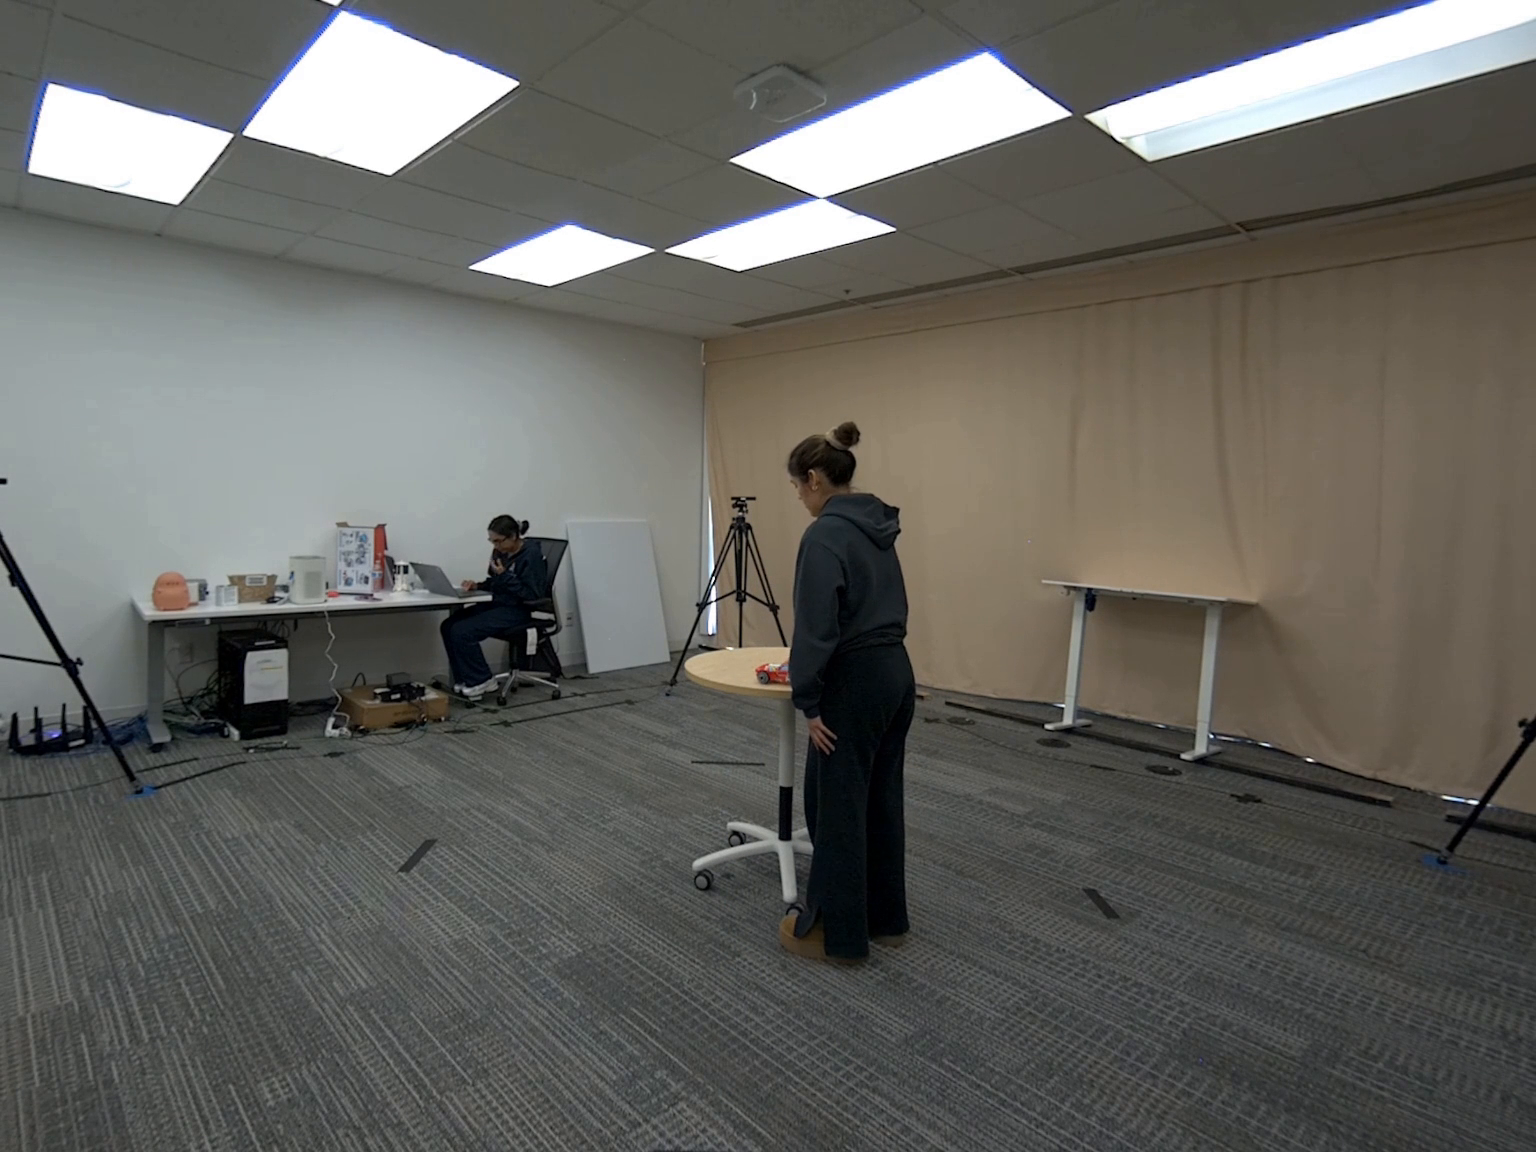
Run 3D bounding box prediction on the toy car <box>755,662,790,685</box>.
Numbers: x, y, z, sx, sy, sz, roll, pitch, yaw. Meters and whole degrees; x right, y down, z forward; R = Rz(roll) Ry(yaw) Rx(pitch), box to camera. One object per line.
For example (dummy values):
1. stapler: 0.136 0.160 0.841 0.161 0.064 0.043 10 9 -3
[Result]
1. toy car: 0.084 0.329 2.802 0.258 0.083 0.128 -7 1 23
